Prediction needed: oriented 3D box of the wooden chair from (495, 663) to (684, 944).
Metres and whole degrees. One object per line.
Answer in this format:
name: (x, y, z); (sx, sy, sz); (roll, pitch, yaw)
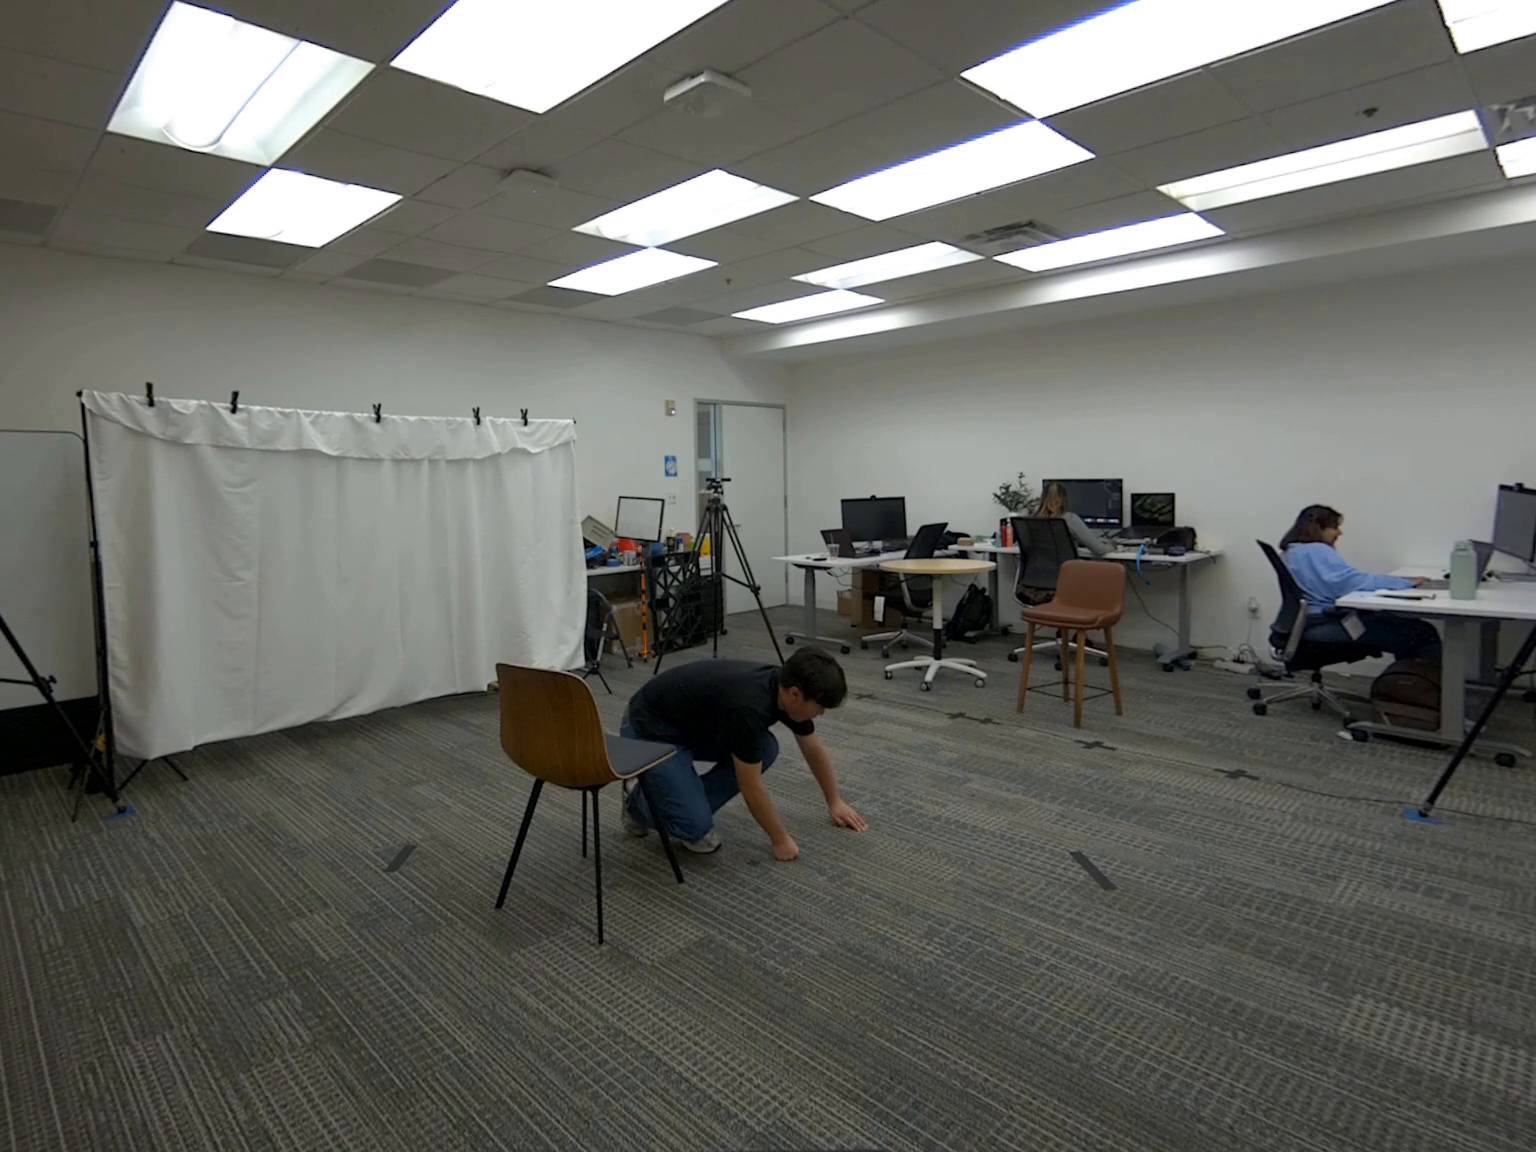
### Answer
wooden chair: (-0.593, 0.655, 2.856); (0.491, 0.871, 0.513); (2, 9, 30)
